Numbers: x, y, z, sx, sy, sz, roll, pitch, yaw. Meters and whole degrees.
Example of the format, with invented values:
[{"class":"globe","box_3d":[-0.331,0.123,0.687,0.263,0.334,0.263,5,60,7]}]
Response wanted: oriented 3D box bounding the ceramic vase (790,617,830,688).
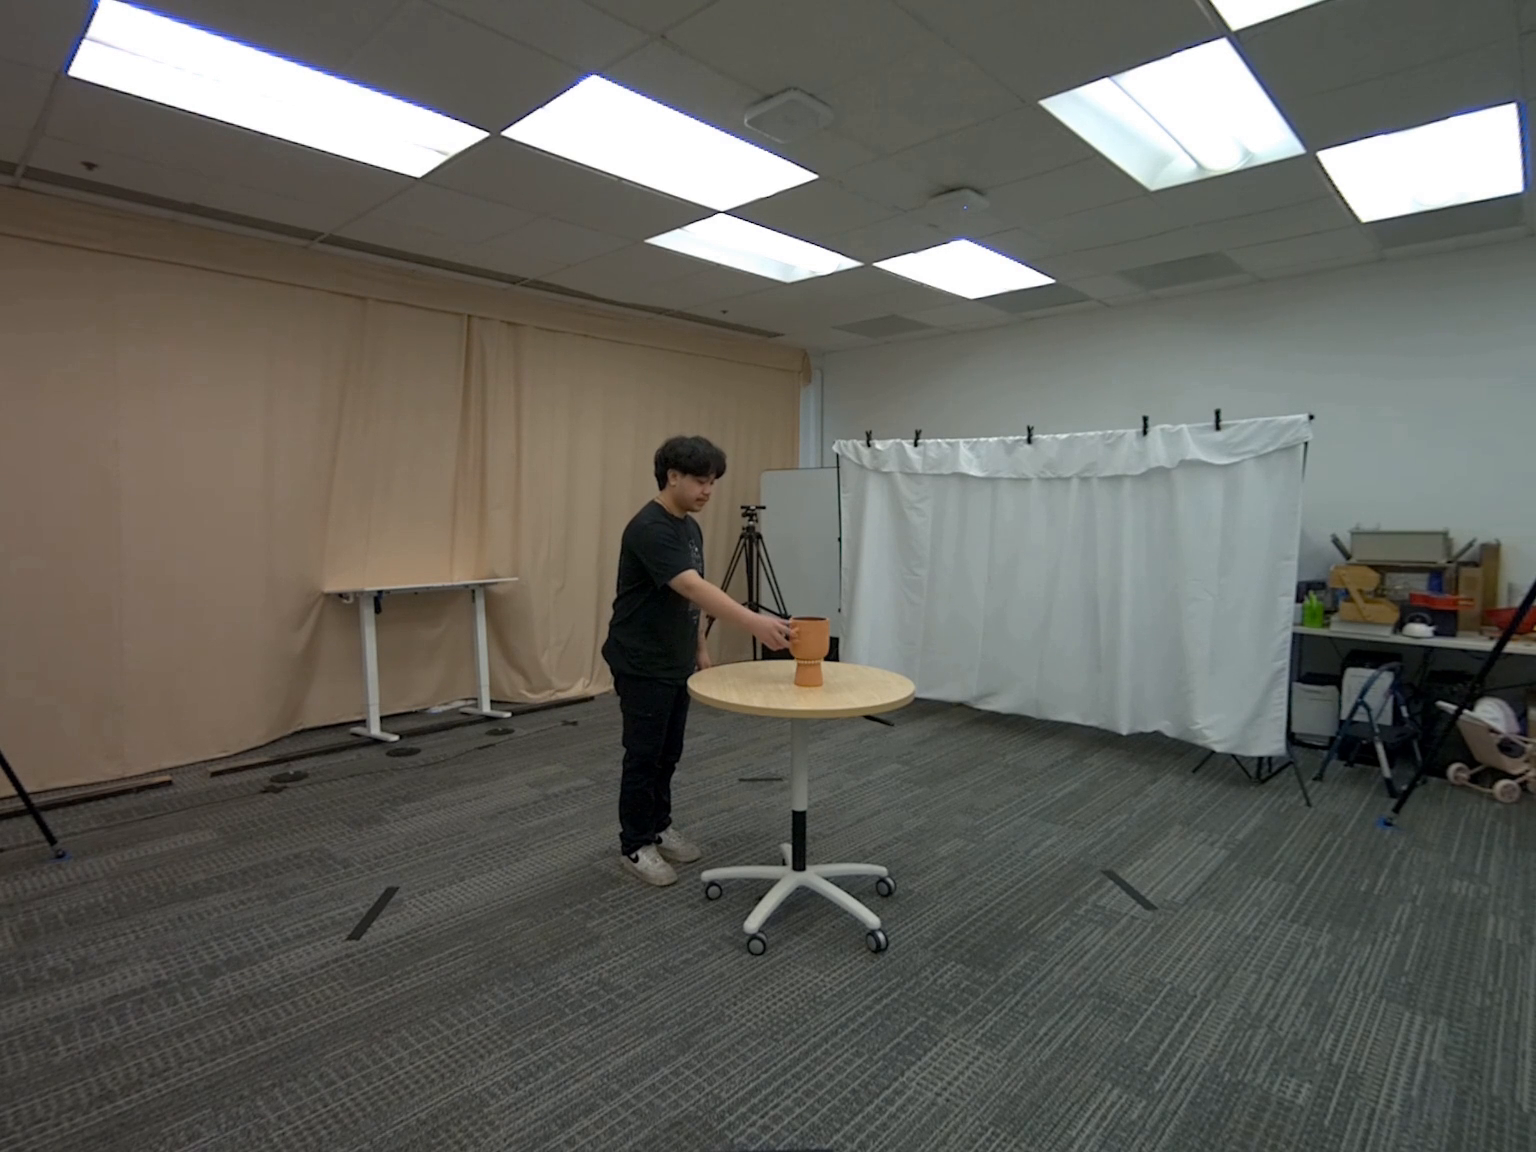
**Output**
[{"class":"ceramic vase","box_3d":[0.136,0.255,2.819,0.157,0.219,0.136,-1,4,-9]}]
